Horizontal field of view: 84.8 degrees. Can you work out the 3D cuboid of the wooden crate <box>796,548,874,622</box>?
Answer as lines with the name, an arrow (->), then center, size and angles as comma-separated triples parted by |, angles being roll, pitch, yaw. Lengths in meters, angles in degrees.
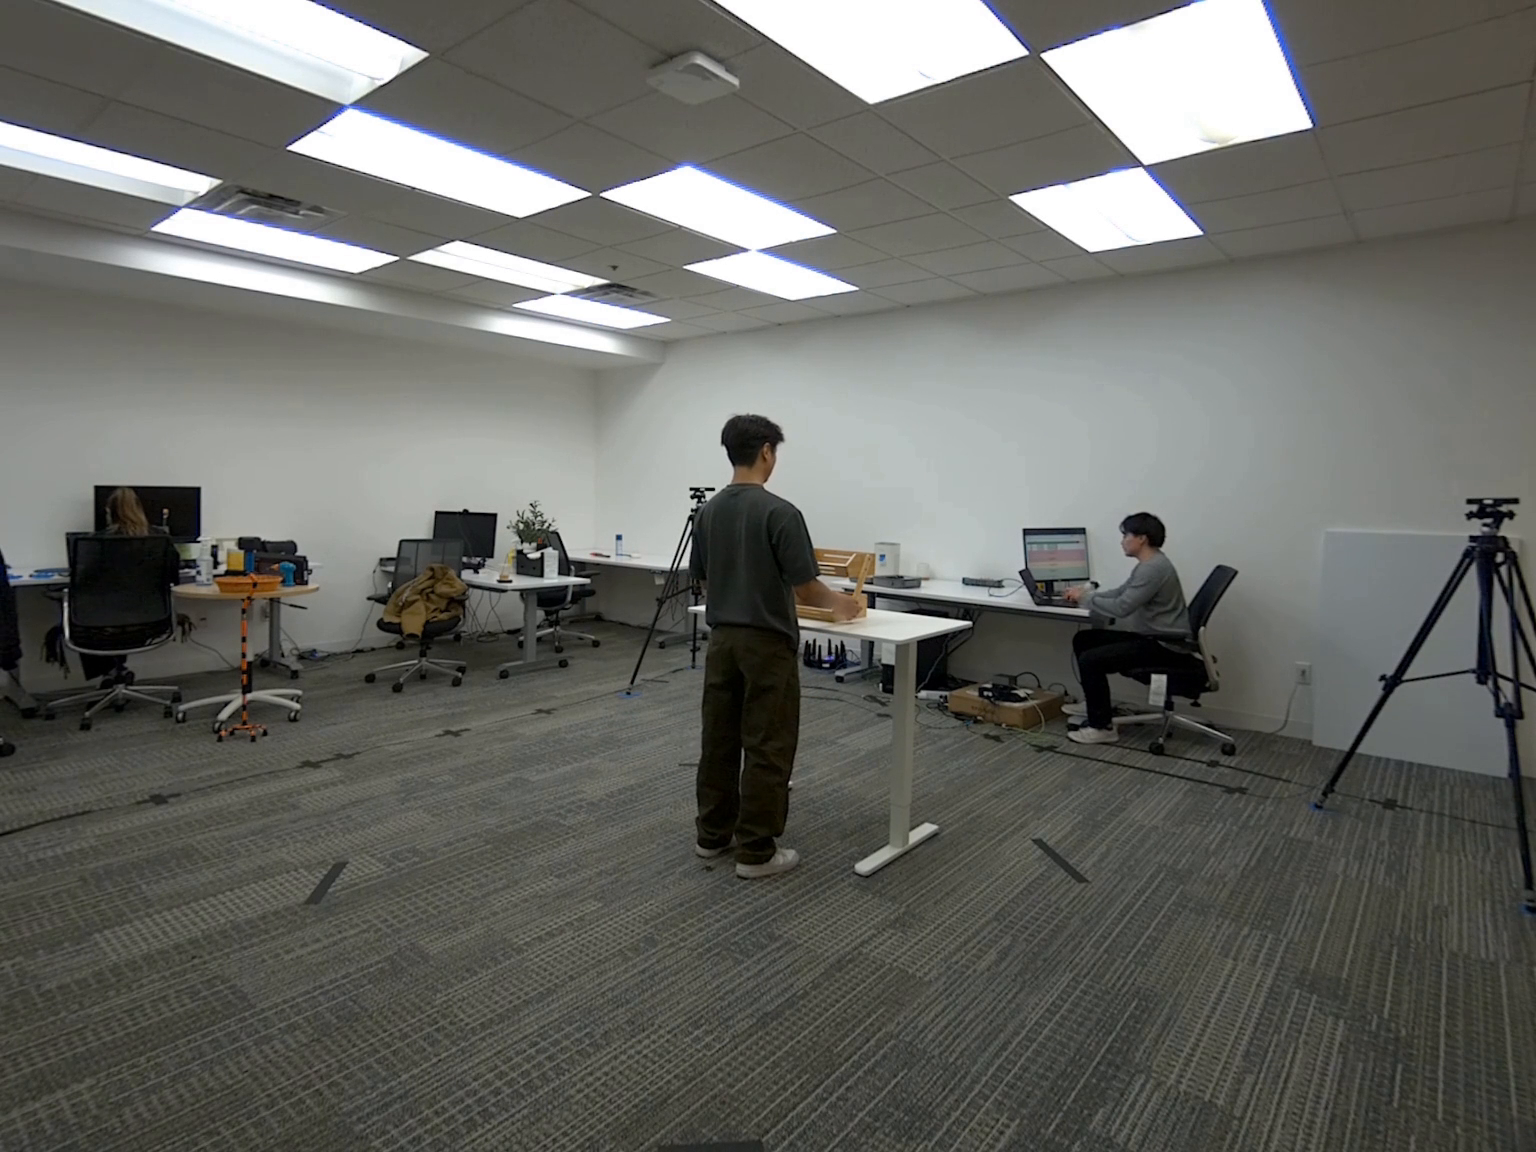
wooden crate -> 0.212, 0.023, 3.471 | 0.335, 0.272, 0.293 | 6, 6, 39
